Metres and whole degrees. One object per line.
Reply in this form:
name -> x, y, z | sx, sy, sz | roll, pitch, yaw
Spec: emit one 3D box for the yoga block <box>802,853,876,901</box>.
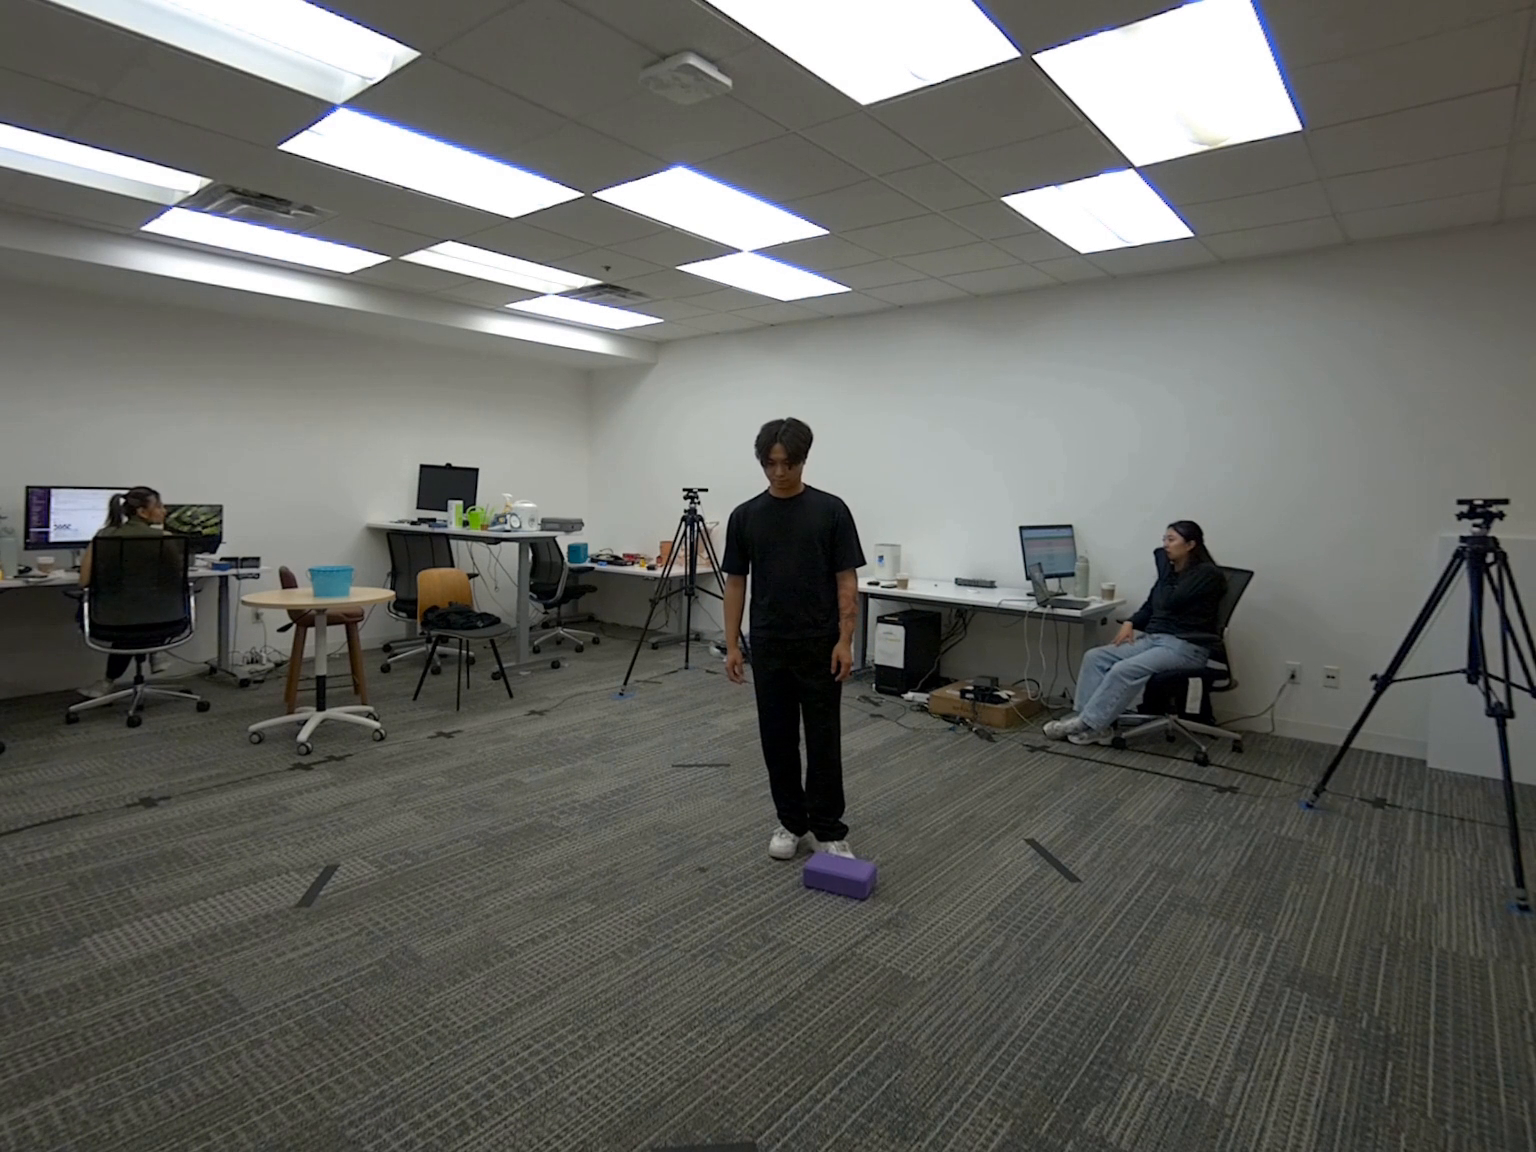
yoga block -> 0.247, 1.048, 3.003 | 0.235, 0.076, 0.146 | 4, 7, 24
